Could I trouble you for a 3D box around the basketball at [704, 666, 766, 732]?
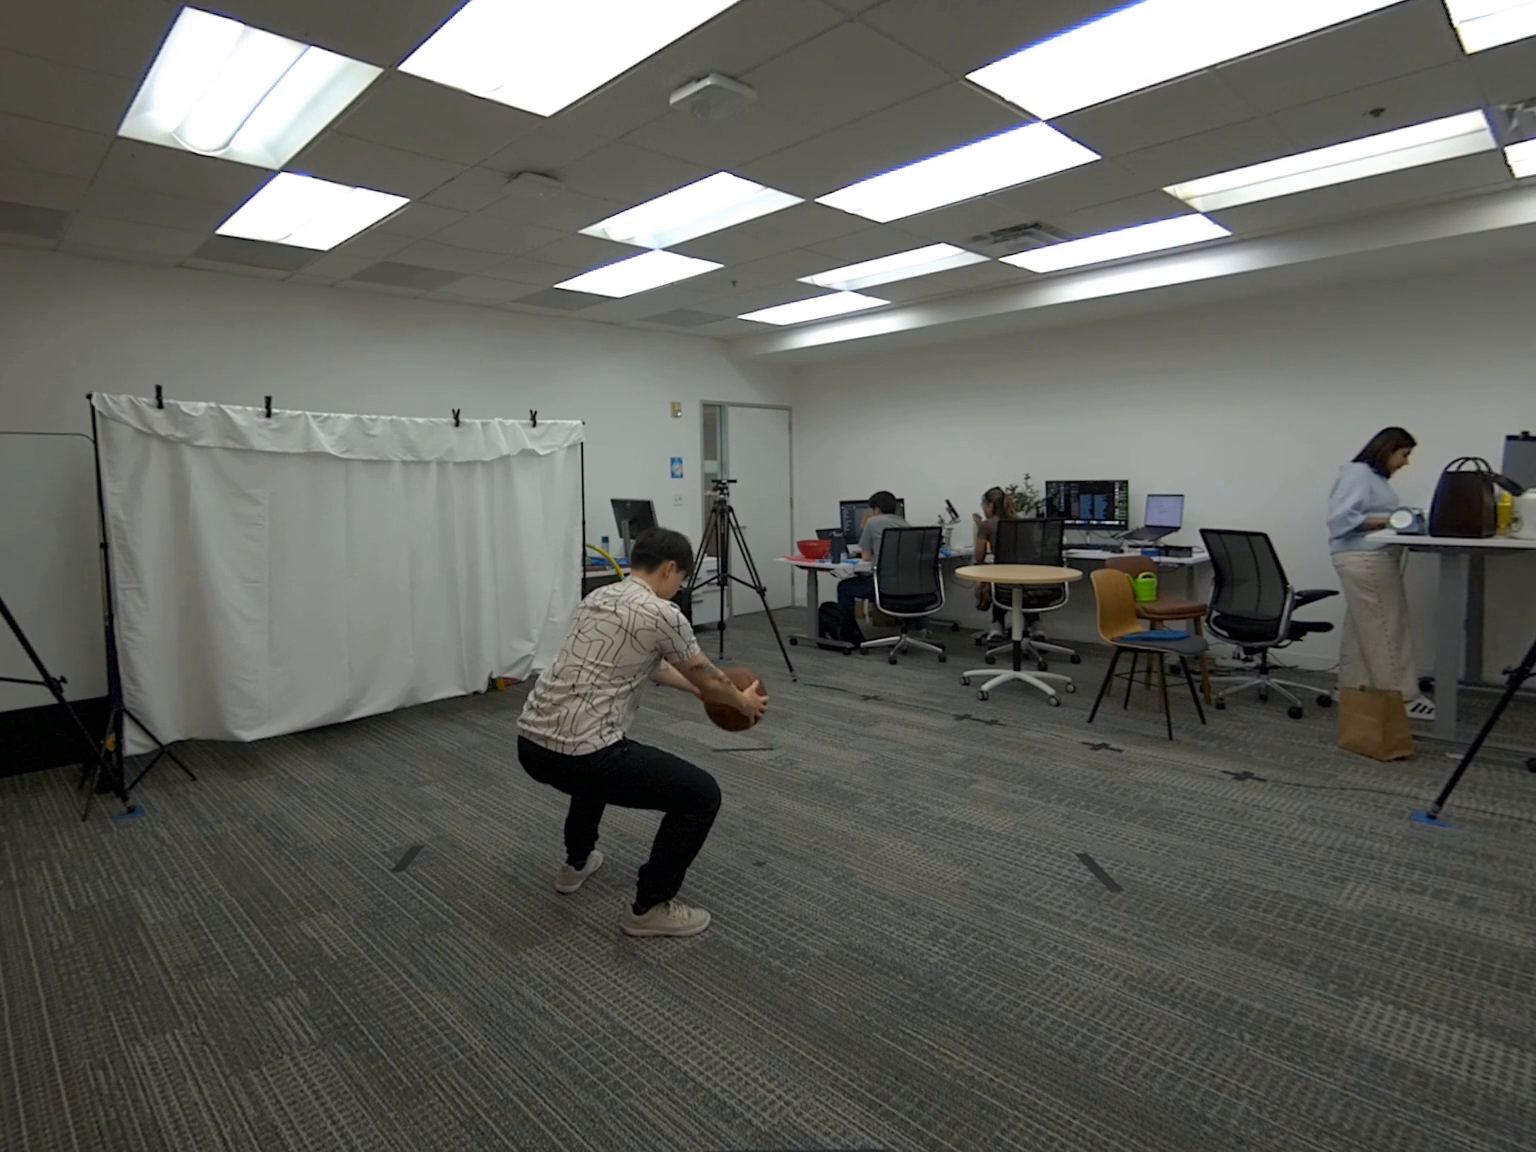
[{"bbox_3d":[-0.118,0.456,3.188,0.236,0.235,0.237,-1,5,-2],"label":"basketball"}]
